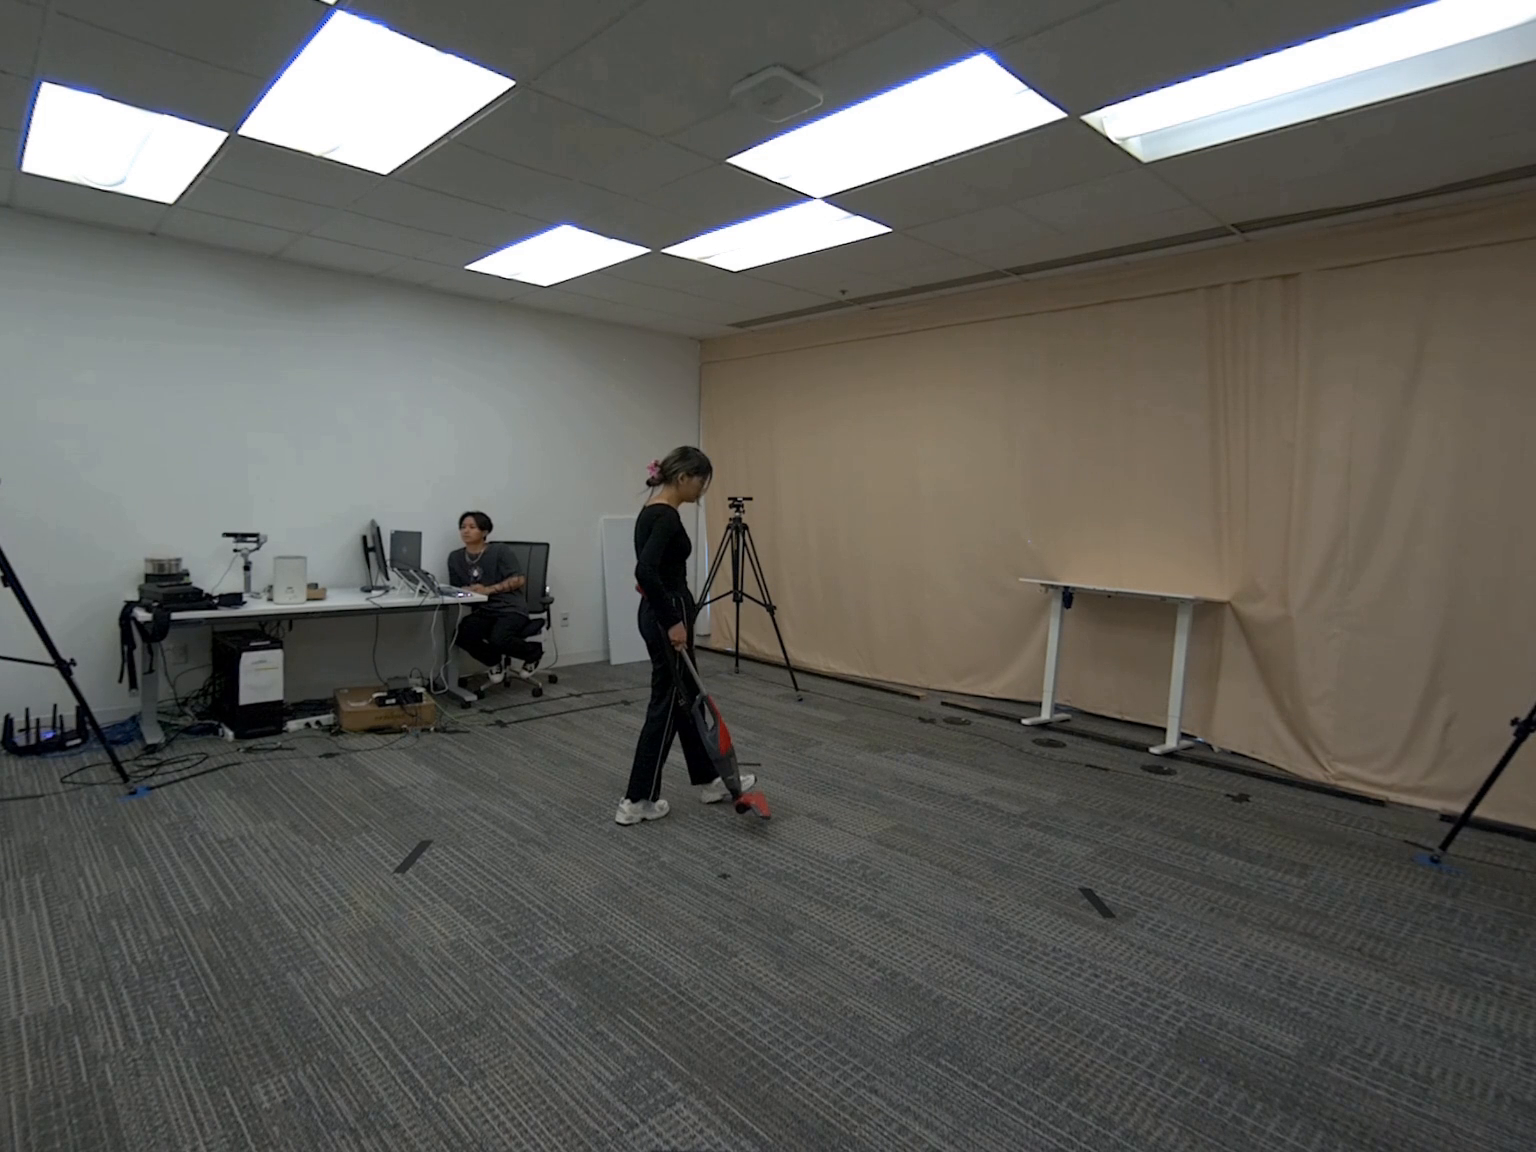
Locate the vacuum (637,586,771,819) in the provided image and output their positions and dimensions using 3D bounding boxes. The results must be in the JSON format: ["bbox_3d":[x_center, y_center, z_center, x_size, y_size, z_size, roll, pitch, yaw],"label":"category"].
[{"bbox_3d":[-0.299,0.516,3.500,0.144,1.042,0.254,-26,7,0],"label":"vacuum"}]
